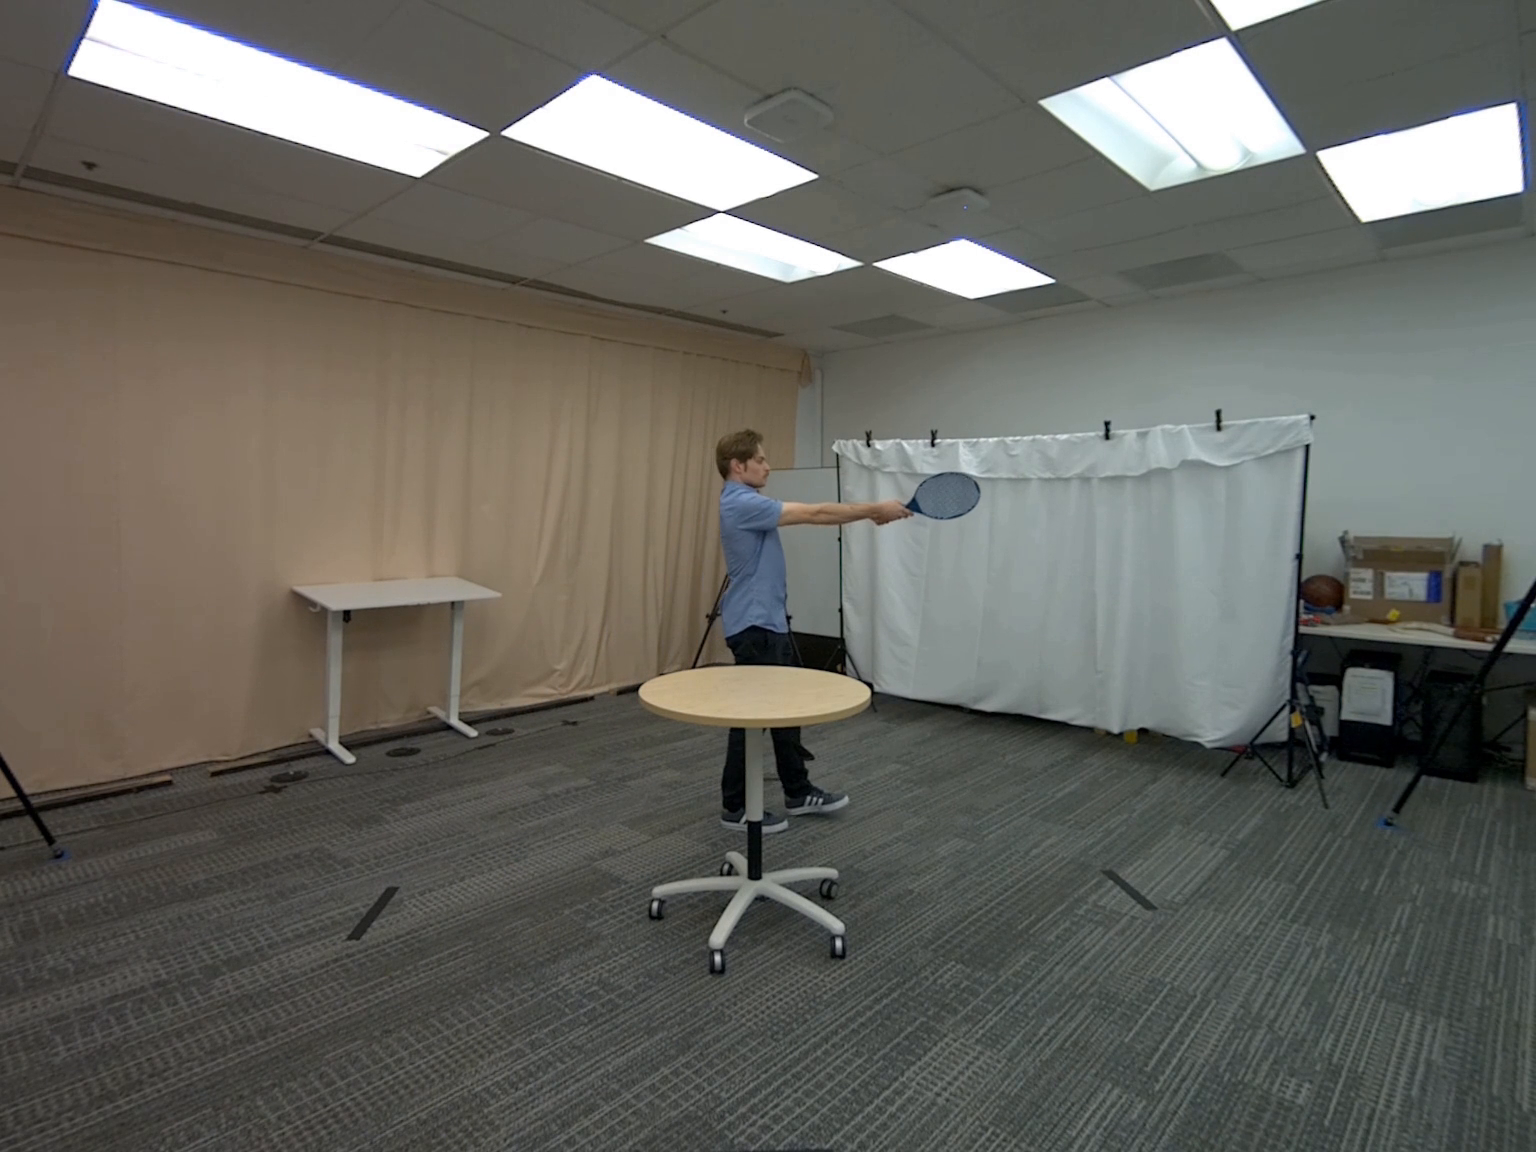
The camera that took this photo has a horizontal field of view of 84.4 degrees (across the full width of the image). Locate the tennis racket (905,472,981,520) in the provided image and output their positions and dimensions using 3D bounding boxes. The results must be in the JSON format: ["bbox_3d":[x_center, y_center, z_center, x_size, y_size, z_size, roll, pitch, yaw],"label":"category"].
[{"bbox_3d":[0.663,-0.294,3.457,0.442,0.210,0.031,-19,16,30],"label":"tennis racket"}]
